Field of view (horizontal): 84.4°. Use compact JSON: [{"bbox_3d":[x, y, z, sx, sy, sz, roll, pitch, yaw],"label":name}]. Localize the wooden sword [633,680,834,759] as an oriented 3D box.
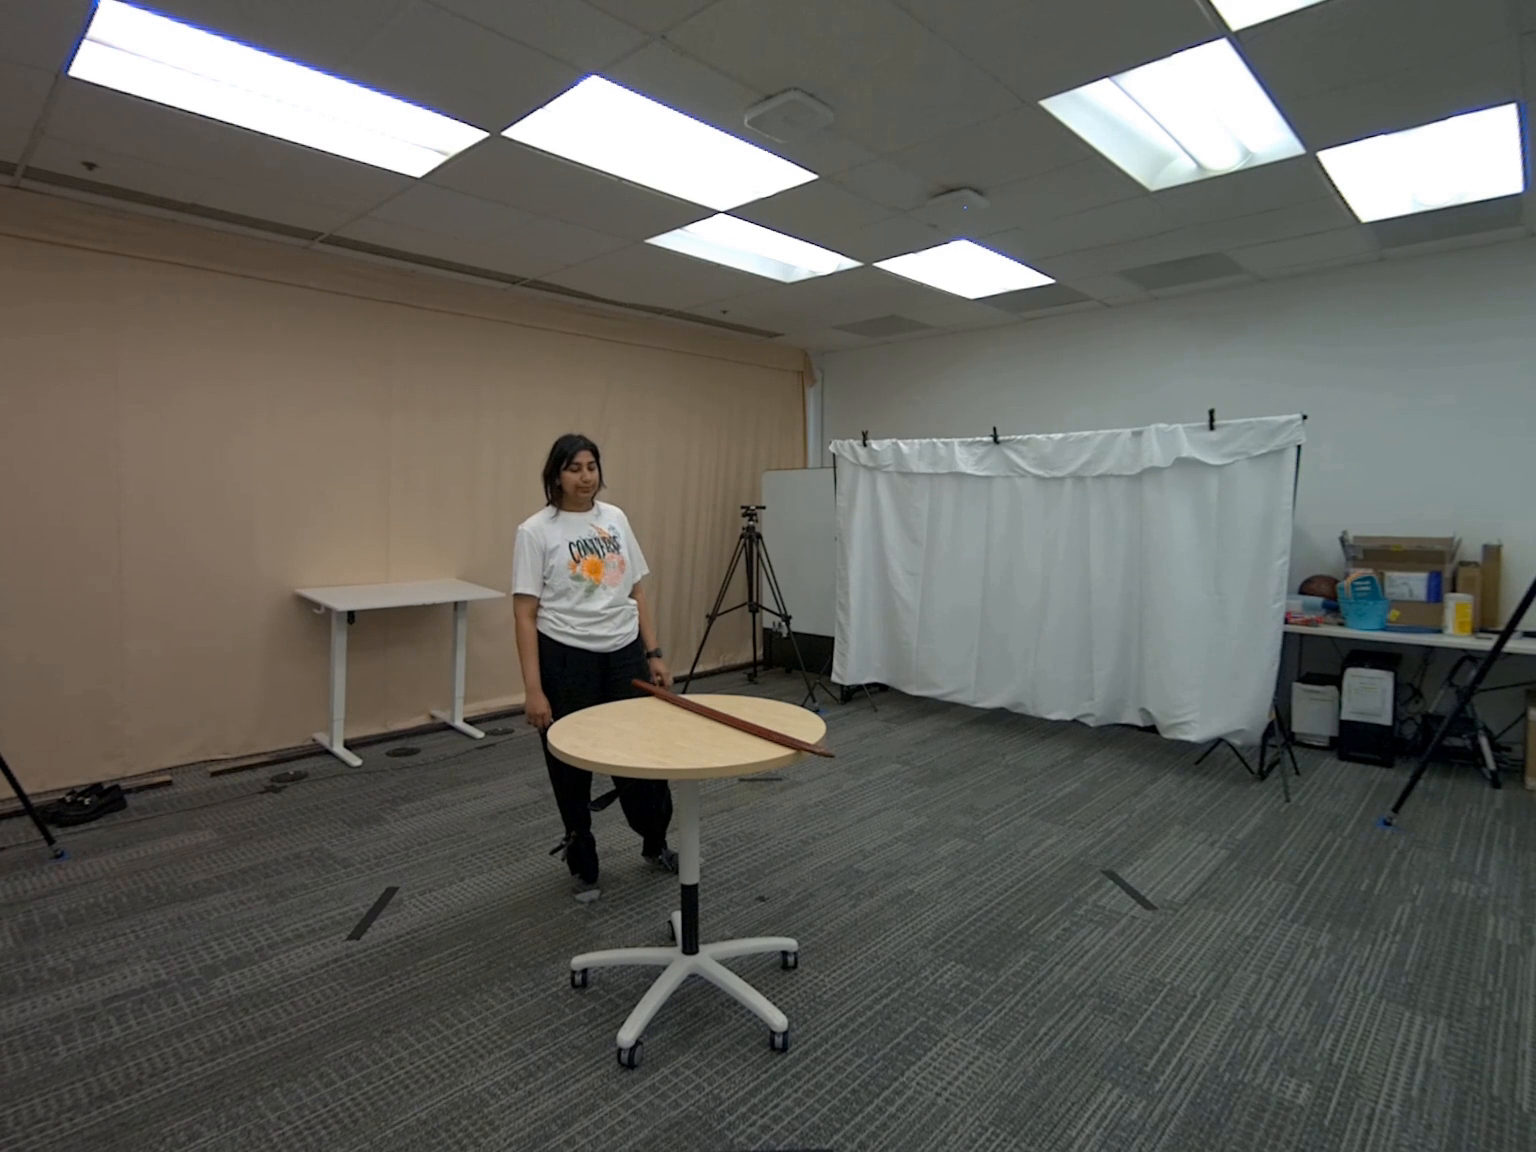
[{"bbox_3d":[-0.141,0.398,2.437,0.023,0.051,1.056,23,-10,-32],"label":"wooden sword"}]
